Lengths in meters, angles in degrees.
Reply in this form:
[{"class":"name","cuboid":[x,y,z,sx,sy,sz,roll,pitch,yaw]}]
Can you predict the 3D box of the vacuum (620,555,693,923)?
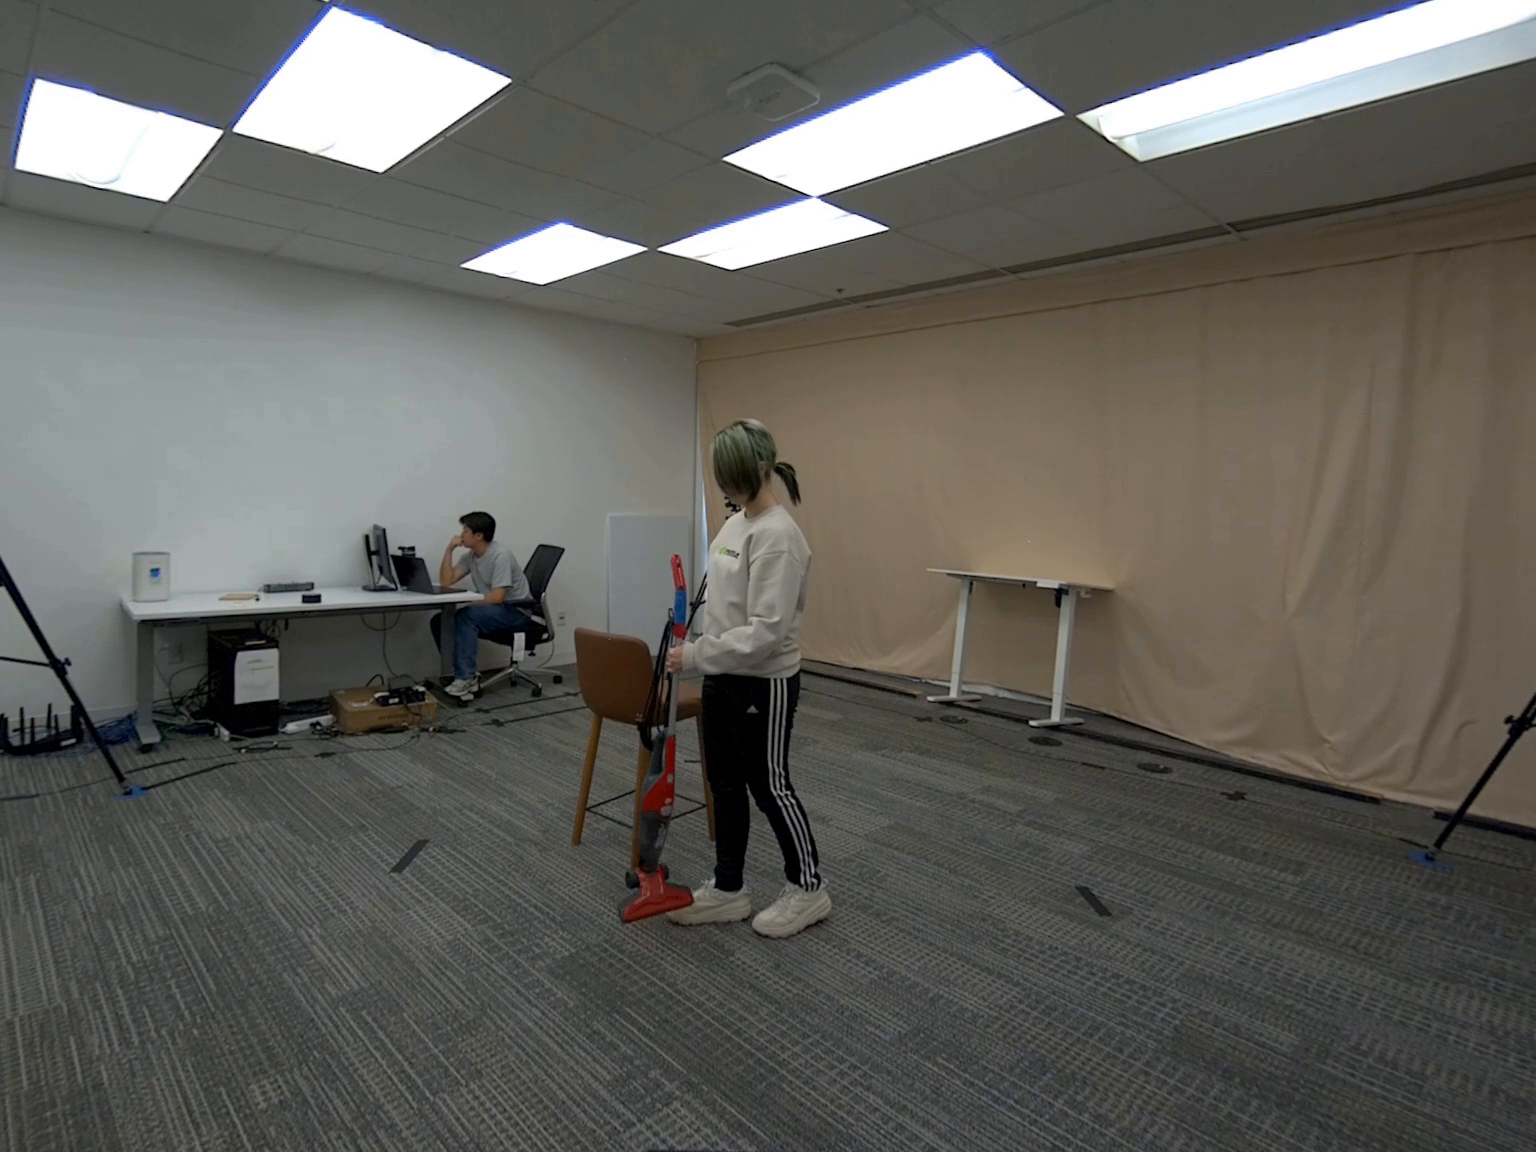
[{"class":"vacuum","cuboid":[-0.320,0.481,2.563,0.247,1.046,0.148,0,5,-37]}]
